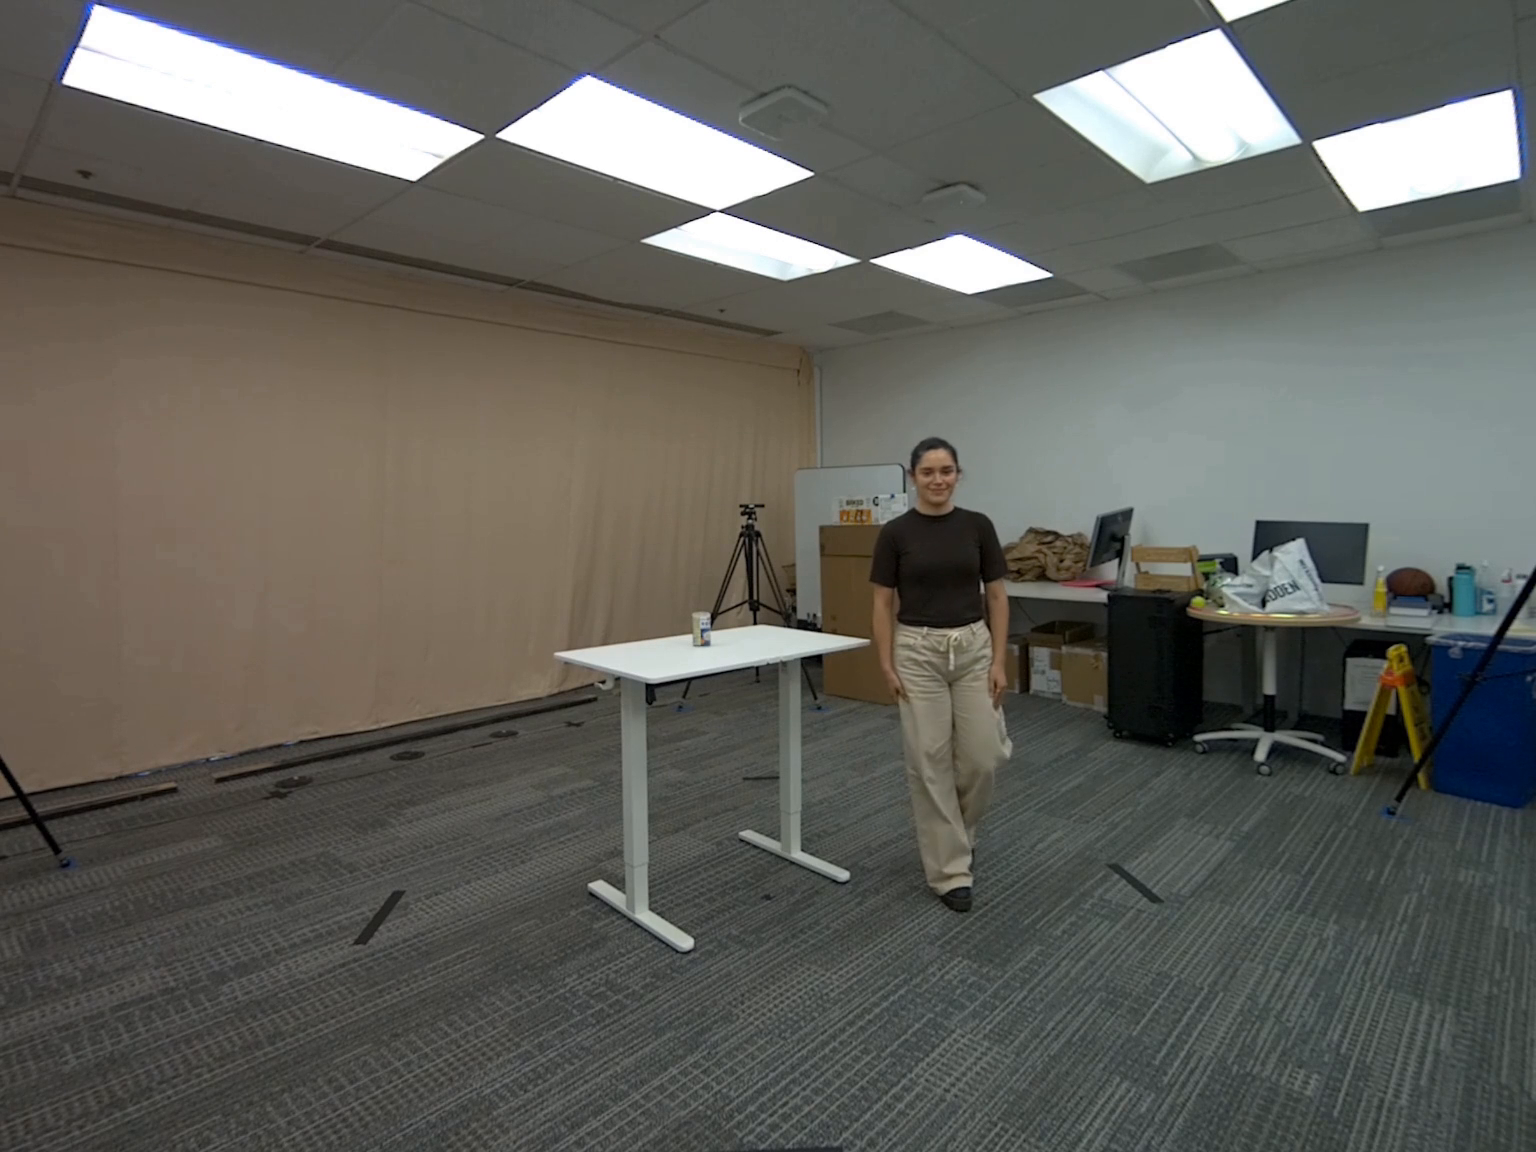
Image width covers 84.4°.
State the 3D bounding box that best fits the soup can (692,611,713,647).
[{"bbox_3d":[-0.237,0.198,3.064,0.067,0.121,0.067,0,2,-2],"label":"soup can"}]
